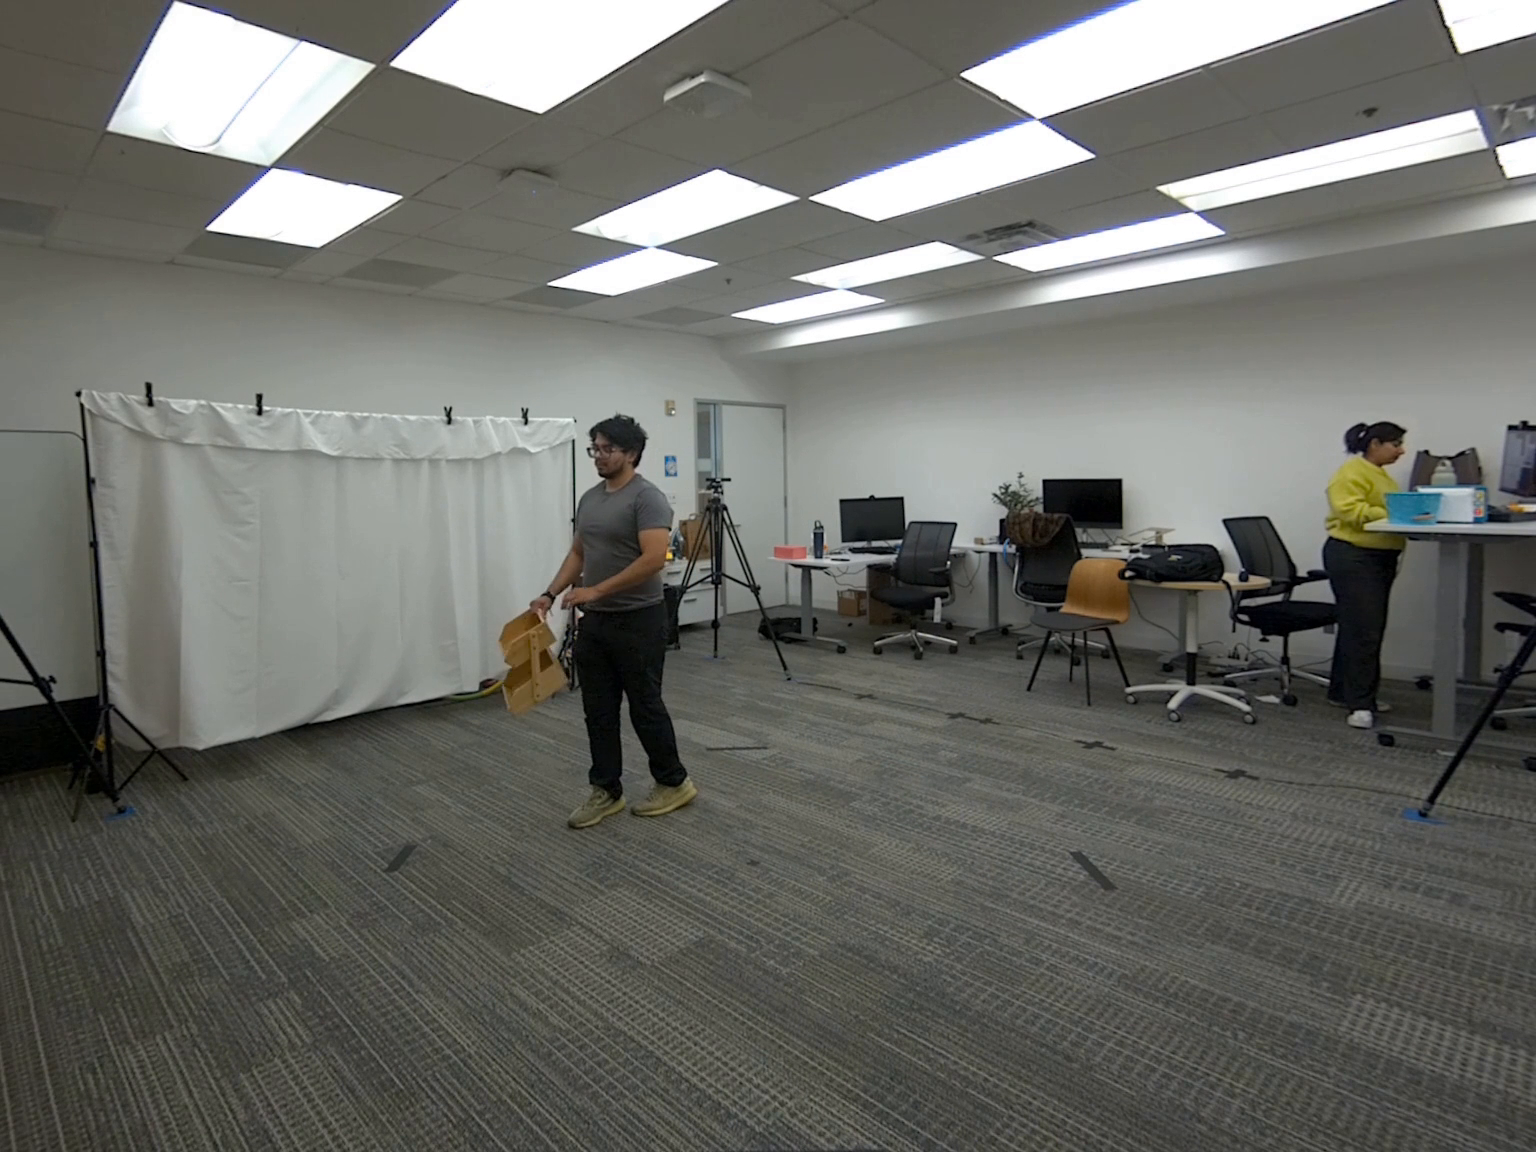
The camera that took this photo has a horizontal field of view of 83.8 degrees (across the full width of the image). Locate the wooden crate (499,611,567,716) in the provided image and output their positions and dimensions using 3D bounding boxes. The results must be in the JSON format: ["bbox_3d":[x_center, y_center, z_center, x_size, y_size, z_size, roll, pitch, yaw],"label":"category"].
[{"bbox_3d":[-0.971,0.332,3.439,0.301,0.267,0.333,-34,20,-13],"label":"wooden crate"}]
